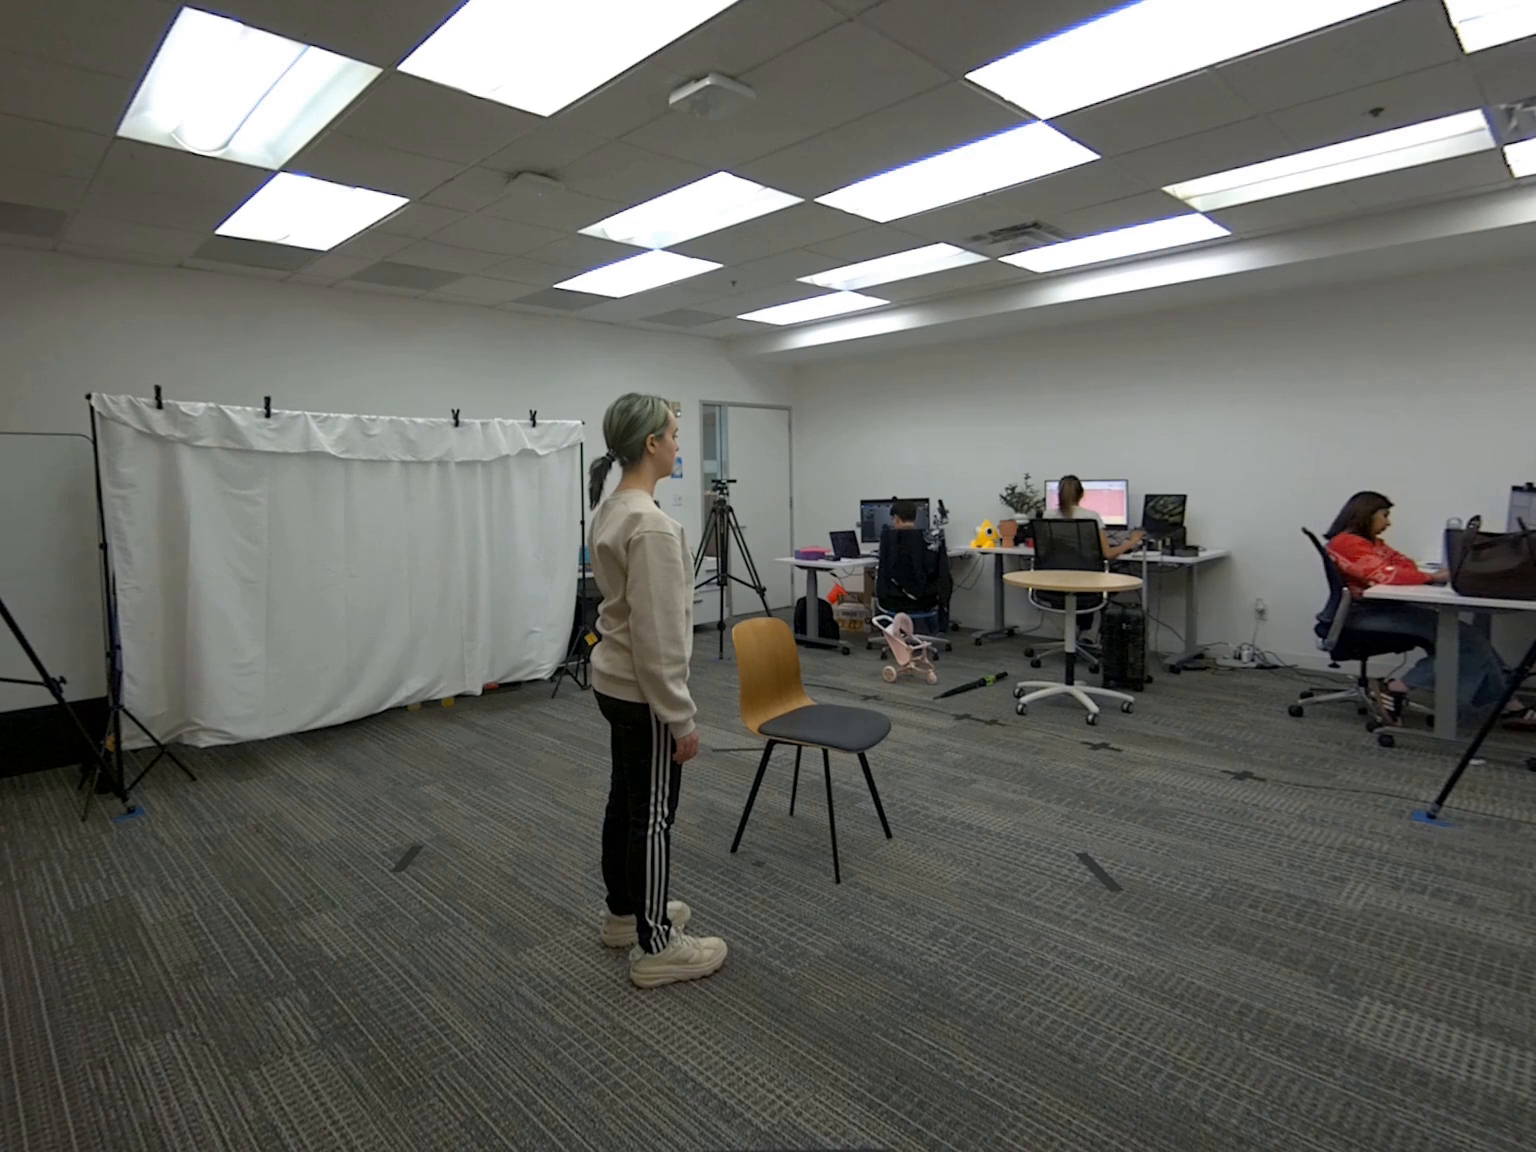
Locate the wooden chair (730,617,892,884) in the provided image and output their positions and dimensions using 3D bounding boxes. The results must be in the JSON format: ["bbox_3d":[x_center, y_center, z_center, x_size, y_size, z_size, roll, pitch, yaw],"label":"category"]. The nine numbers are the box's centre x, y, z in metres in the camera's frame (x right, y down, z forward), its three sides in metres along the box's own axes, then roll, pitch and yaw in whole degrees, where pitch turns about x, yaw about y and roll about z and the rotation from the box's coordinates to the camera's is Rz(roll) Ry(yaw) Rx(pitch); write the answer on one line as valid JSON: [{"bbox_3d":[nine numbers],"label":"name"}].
[{"bbox_3d":[0.171,0.602,3.218,0.537,0.876,0.466,-3,2,34],"label":"wooden chair"}]
